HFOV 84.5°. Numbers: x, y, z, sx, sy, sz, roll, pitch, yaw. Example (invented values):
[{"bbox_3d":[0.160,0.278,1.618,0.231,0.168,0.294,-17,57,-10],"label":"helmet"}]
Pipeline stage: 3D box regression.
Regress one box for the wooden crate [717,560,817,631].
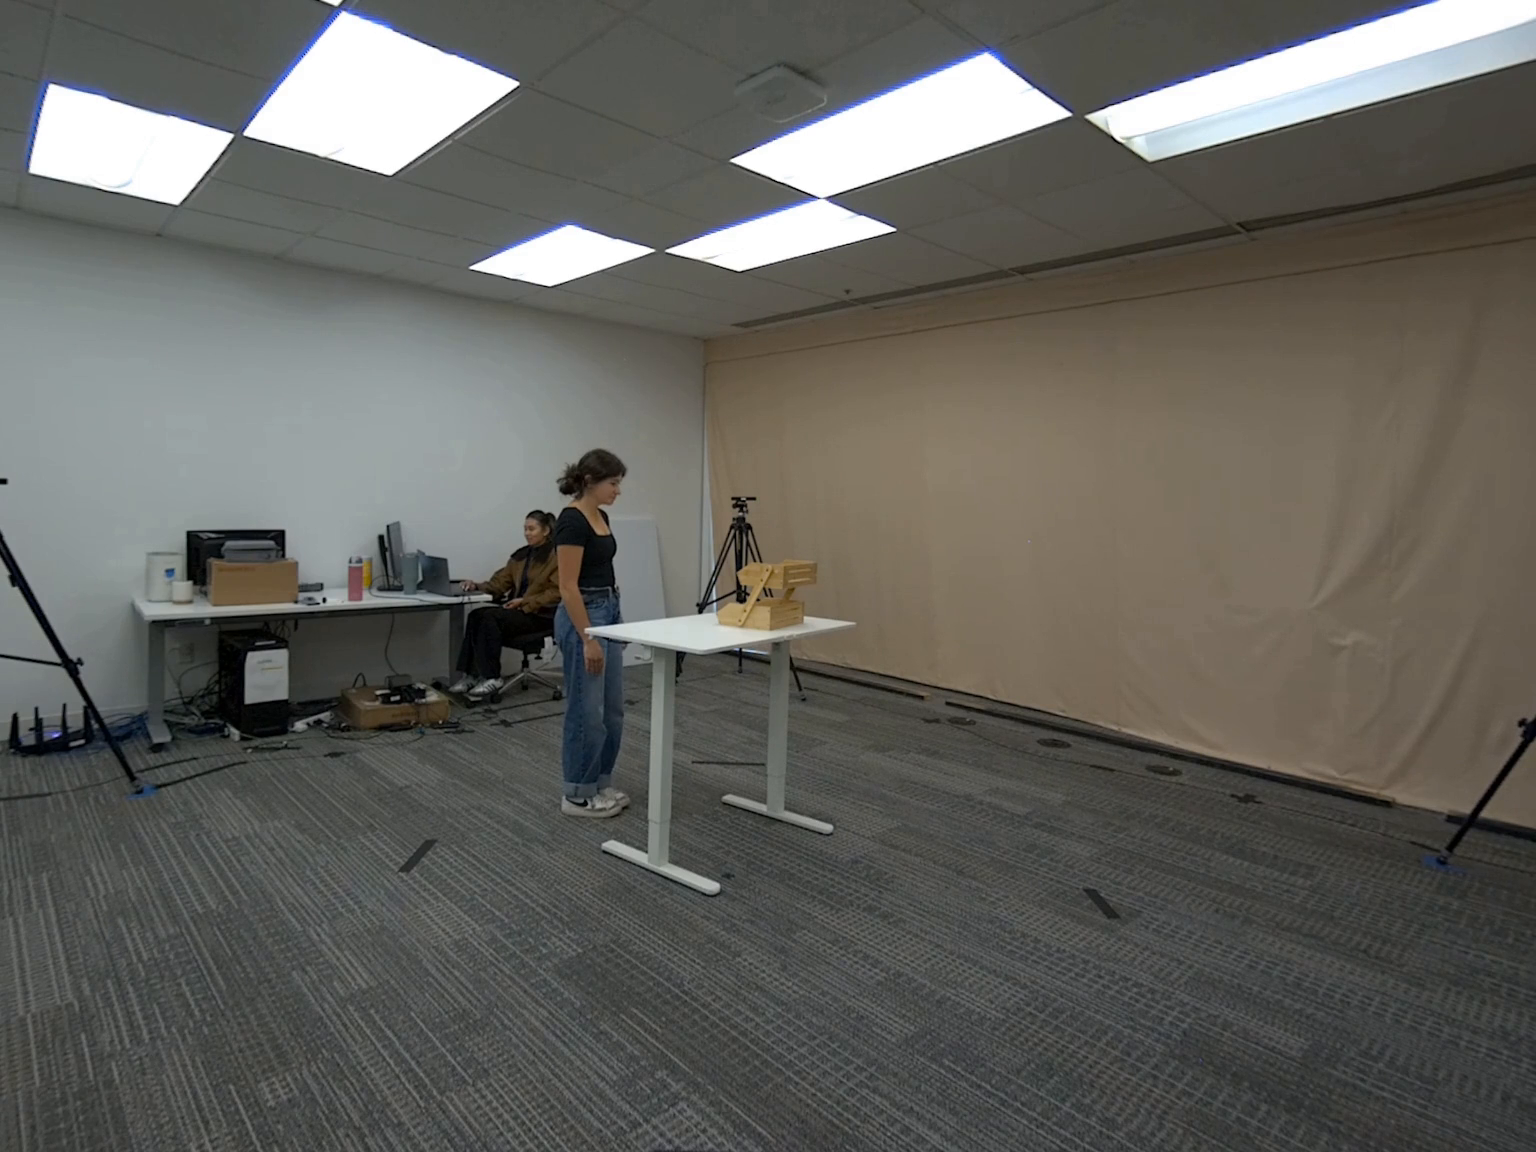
[{"bbox_3d":[-0.012,0.066,3.454,0.309,0.272,0.318,5,5,29],"label":"wooden crate"}]
